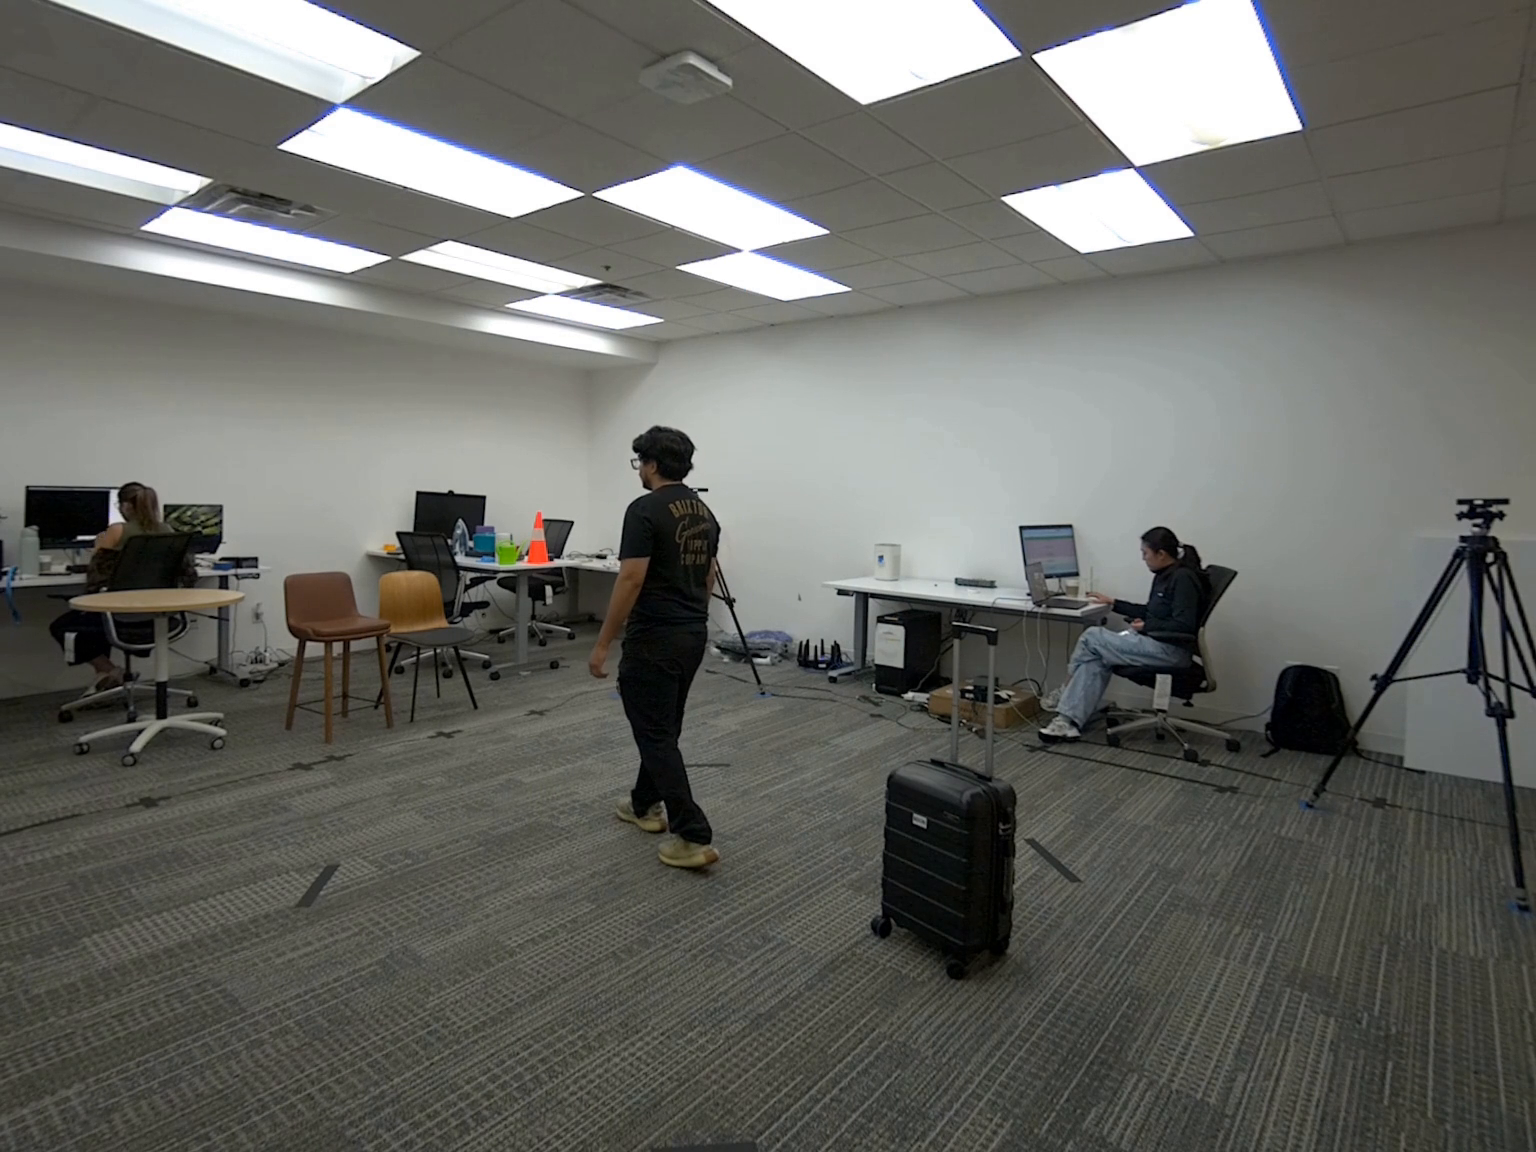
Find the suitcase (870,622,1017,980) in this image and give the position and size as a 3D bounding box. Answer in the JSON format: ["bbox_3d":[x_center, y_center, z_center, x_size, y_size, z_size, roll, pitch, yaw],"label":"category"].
[{"bbox_3d":[0.553,0.657,2.607,0.249,0.976,0.397,-1,4,-39],"label":"suitcase"}]
